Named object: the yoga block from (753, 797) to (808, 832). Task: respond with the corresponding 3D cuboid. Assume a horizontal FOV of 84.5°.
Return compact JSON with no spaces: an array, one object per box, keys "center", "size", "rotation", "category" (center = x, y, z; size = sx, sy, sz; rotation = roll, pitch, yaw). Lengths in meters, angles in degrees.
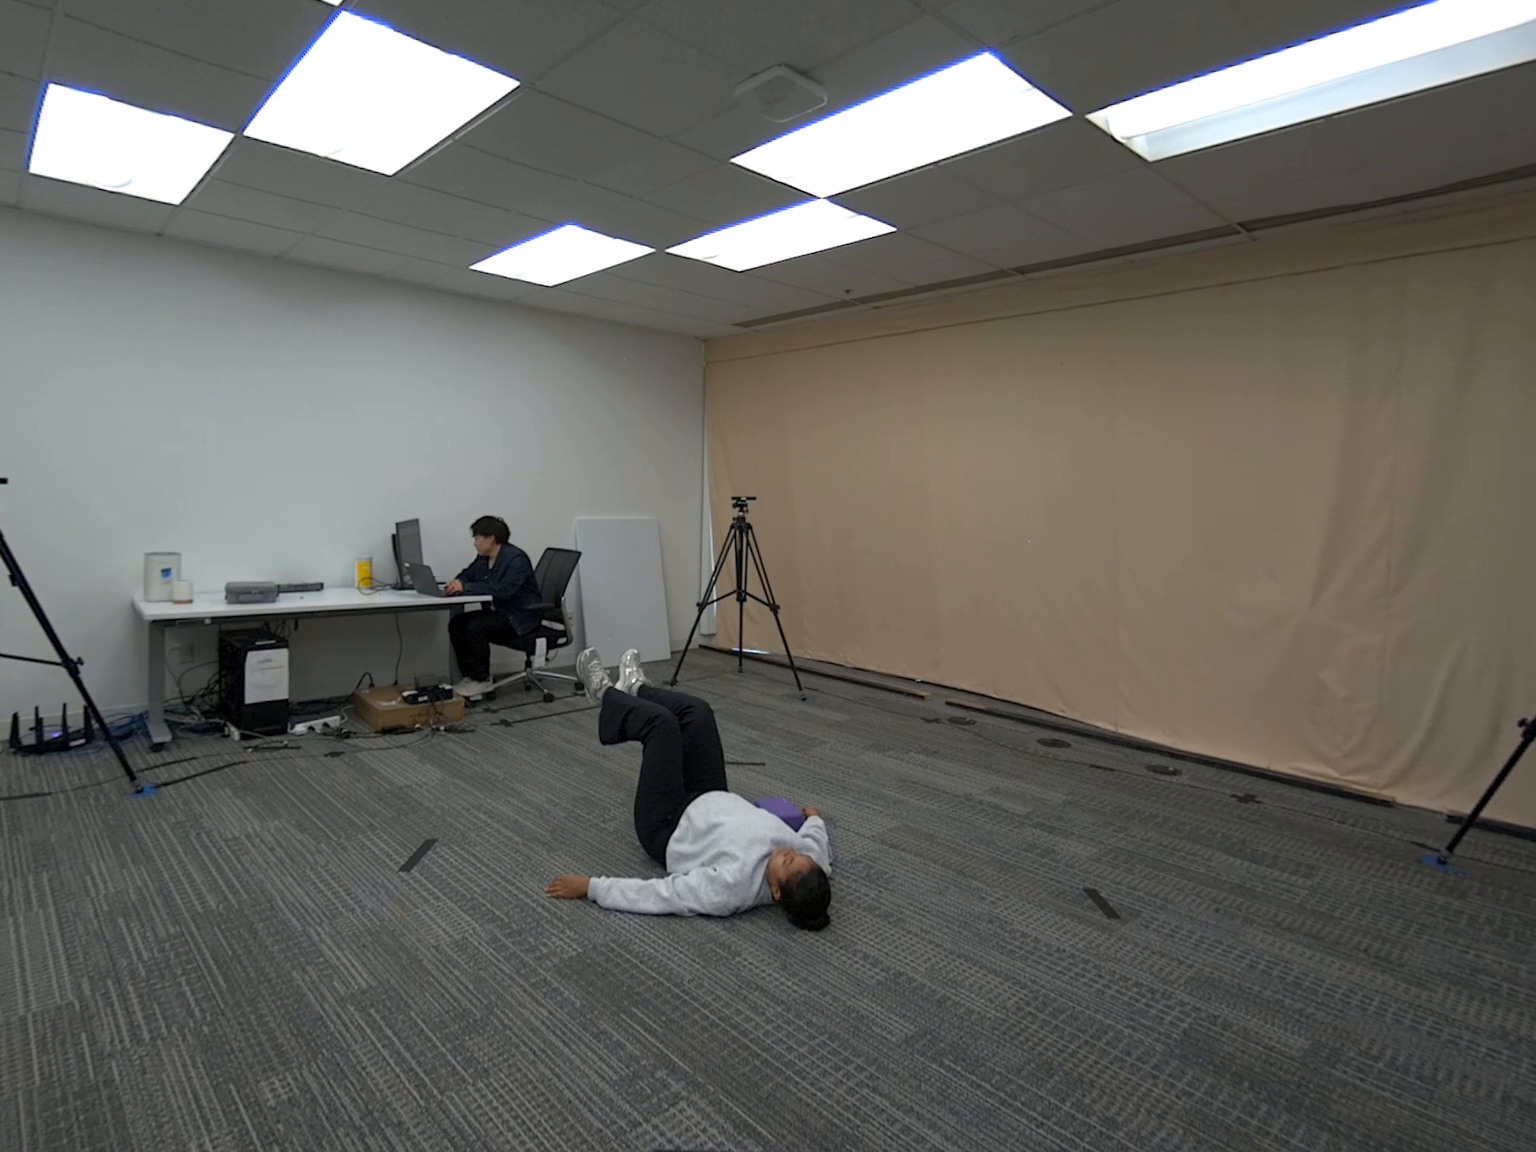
[{"center":[0.035,1.024,3.626],"size":[0.147,0.076,0.233],"rotation":[-1,5,-17],"category":"yoga block"}]
